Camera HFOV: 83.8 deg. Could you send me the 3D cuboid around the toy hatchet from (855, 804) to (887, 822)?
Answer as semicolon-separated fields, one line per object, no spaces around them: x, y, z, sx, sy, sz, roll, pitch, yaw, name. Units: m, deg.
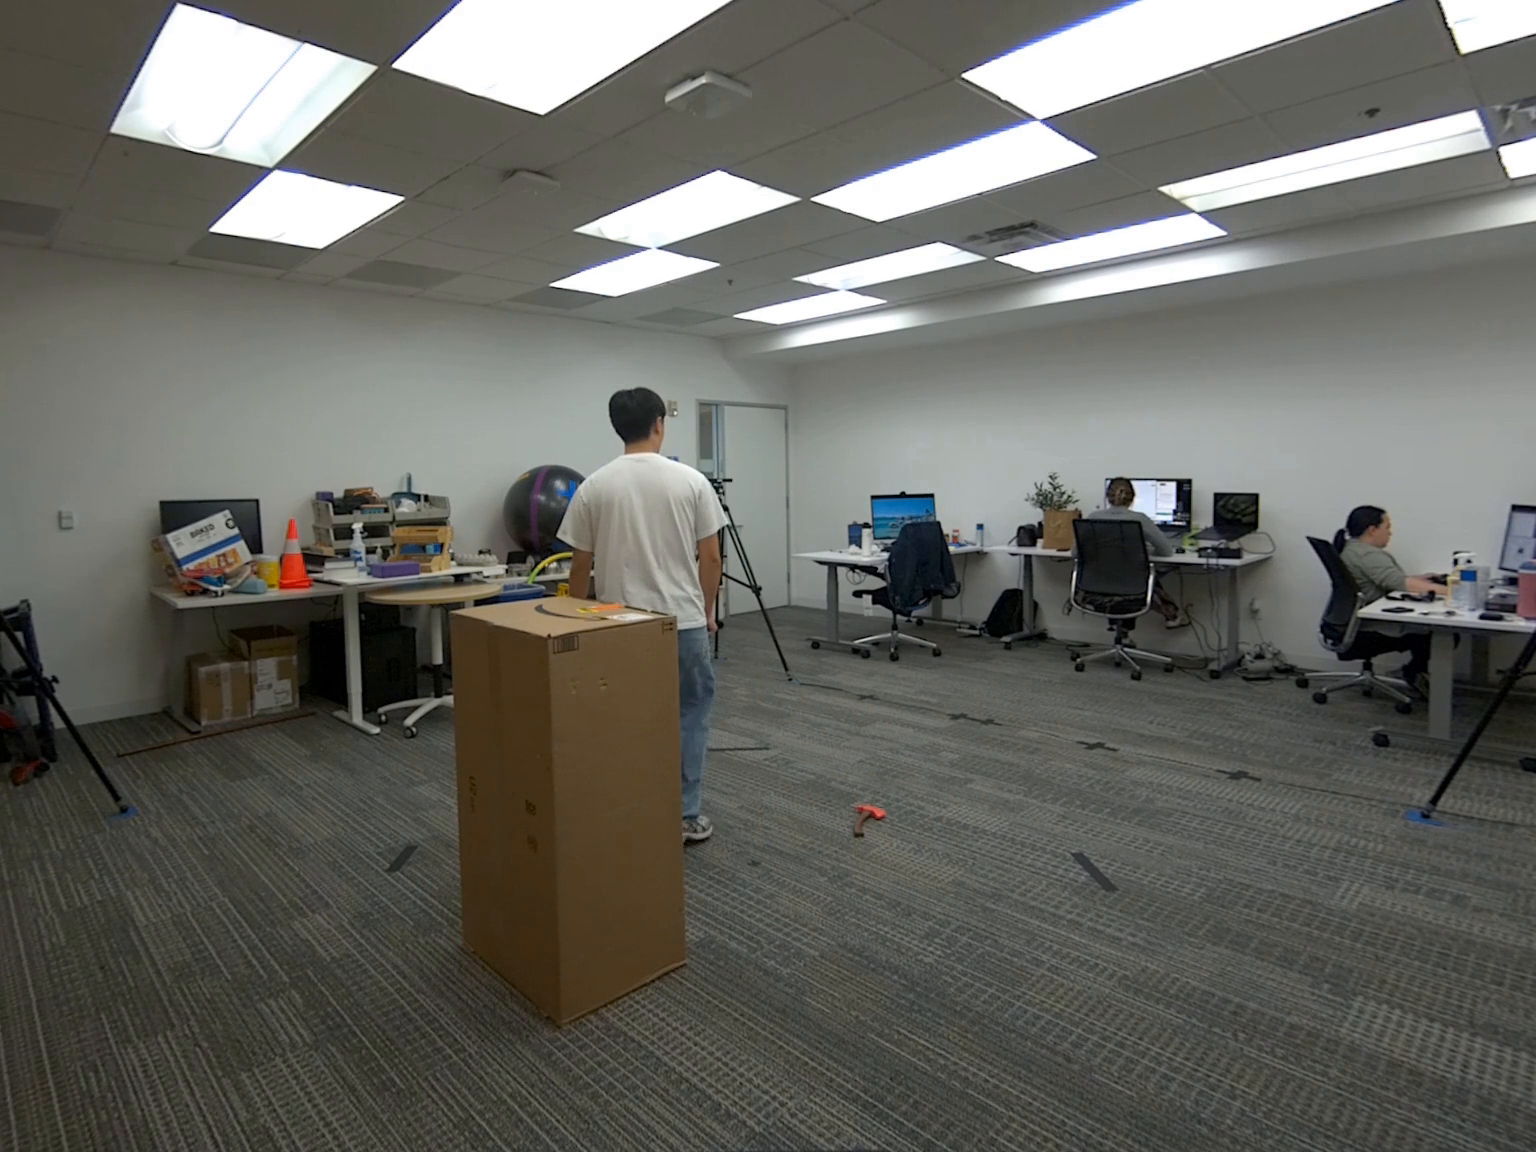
0.413;0.987;3.439;0.132;0.029;0.269;2;8;7;toy hatchet
